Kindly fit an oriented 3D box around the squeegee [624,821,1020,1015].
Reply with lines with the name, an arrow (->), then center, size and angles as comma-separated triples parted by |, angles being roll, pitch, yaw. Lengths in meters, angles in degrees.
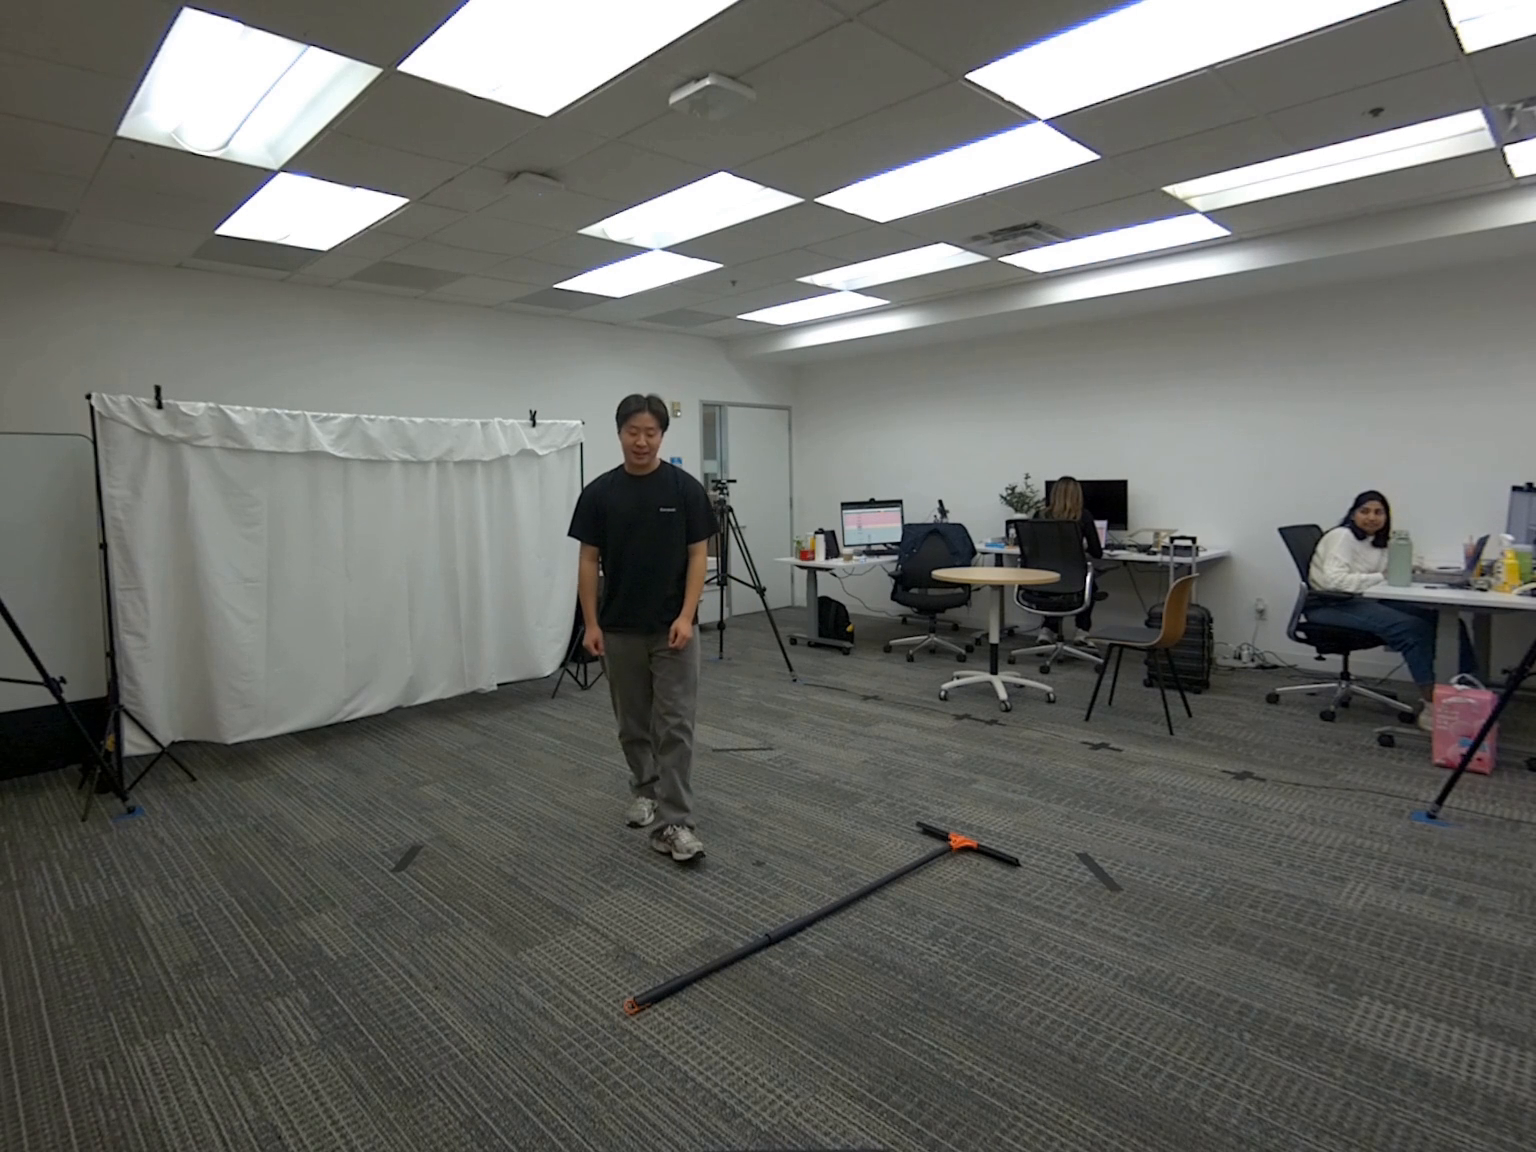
squeegee -> 0.189, 1.050, 2.735 | 1.499, 0.053, 0.450 | -8, 8, -39
